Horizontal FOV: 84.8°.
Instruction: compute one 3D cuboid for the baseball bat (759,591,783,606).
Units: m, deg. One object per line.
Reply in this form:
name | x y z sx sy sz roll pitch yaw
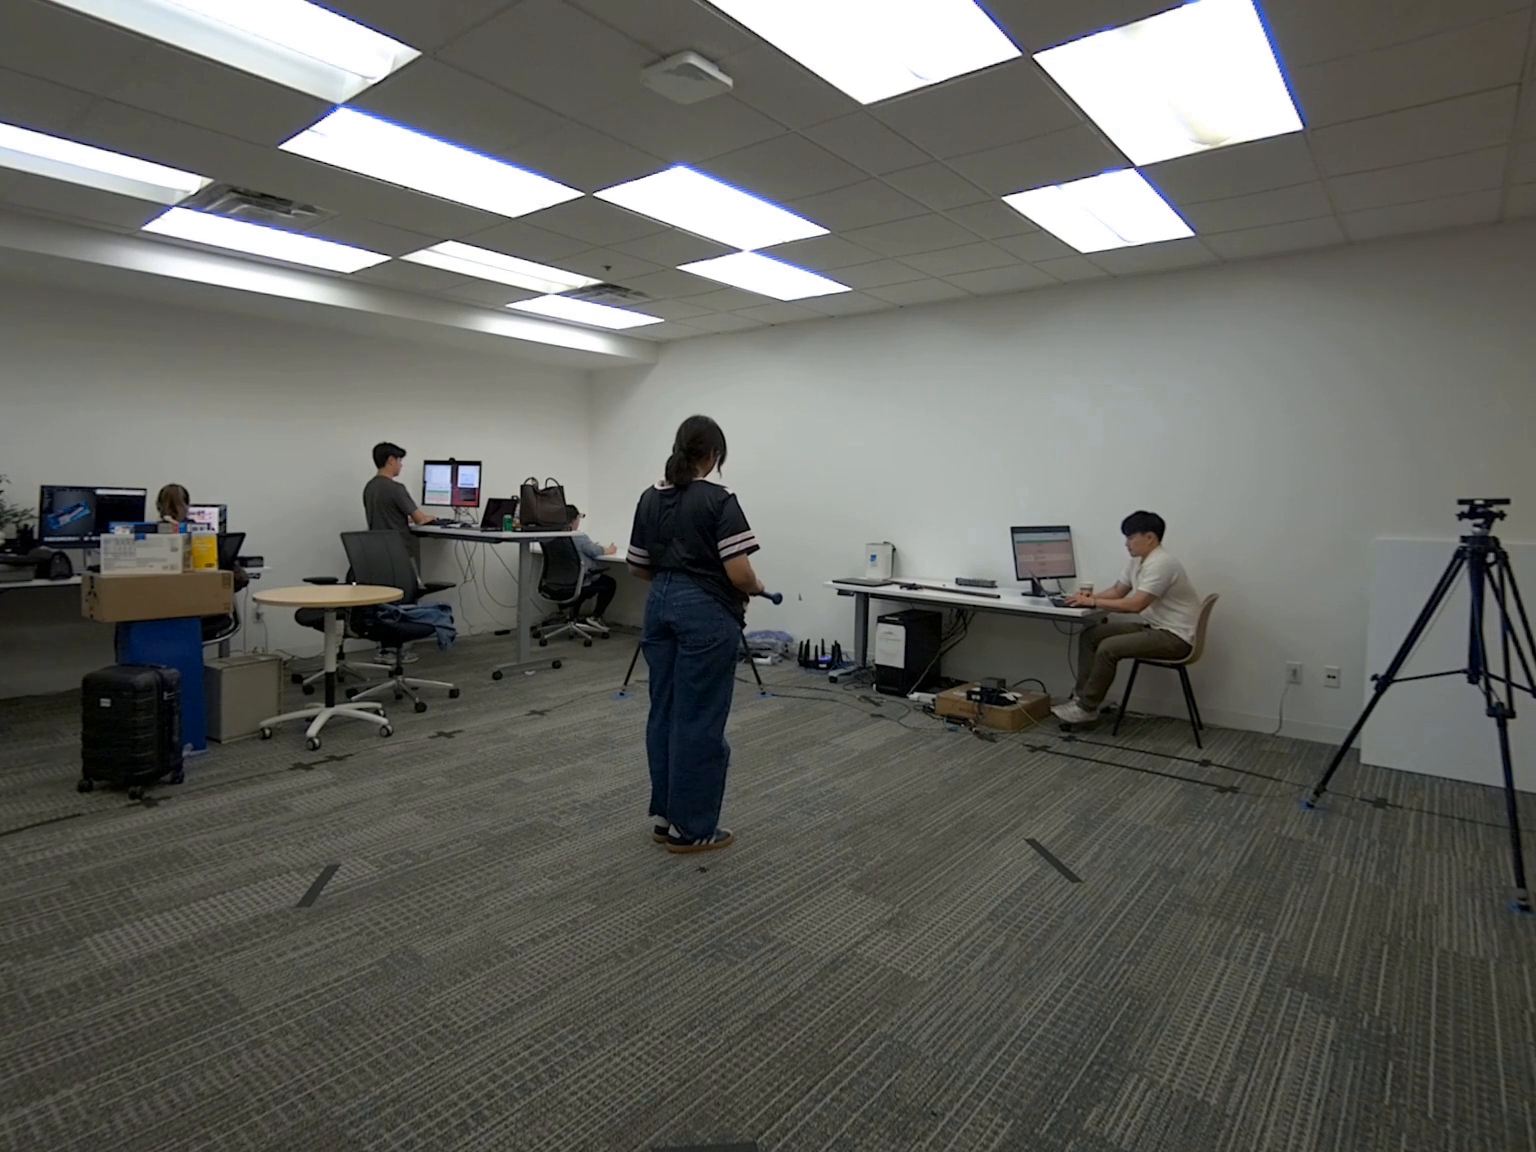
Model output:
baseball bat | -0.153 0.032 3.570 0.086 0.088 0.564 -3 16 -45
